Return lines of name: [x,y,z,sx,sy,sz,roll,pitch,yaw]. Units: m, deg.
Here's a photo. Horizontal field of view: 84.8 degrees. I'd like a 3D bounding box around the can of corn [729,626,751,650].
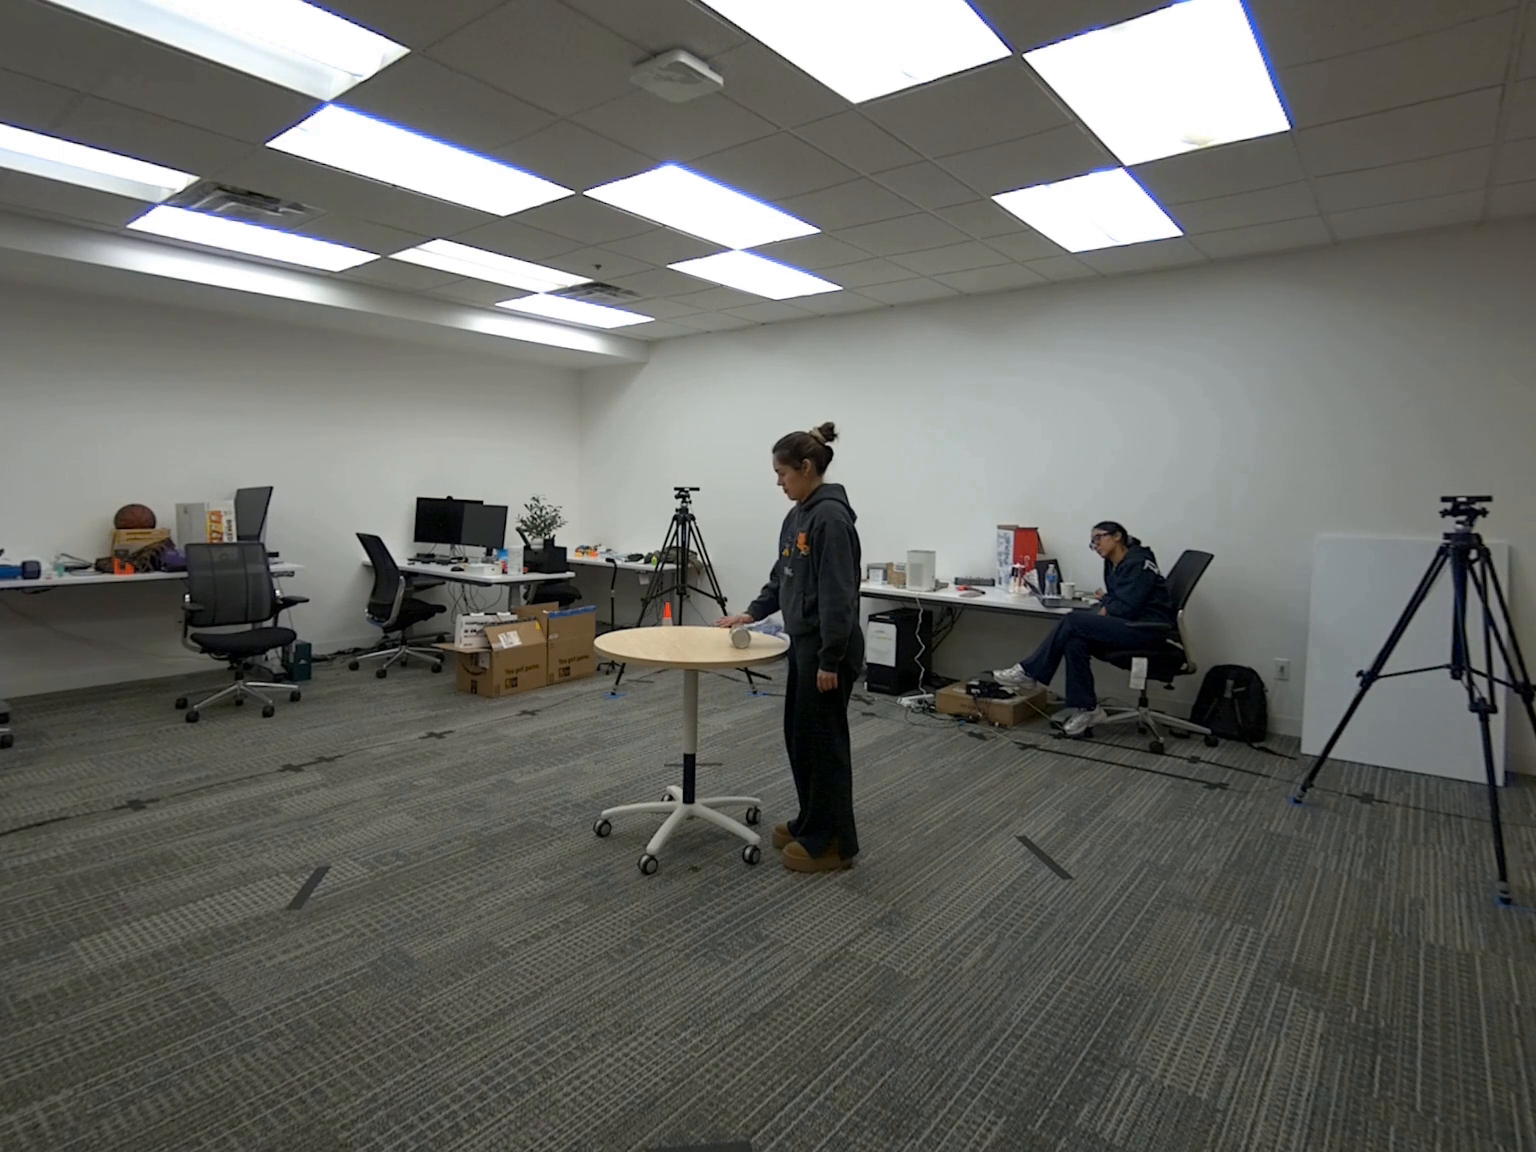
can of corn: [-0.107,0.231,3.303,0.074,0.074,0.112,0,9,-5]
